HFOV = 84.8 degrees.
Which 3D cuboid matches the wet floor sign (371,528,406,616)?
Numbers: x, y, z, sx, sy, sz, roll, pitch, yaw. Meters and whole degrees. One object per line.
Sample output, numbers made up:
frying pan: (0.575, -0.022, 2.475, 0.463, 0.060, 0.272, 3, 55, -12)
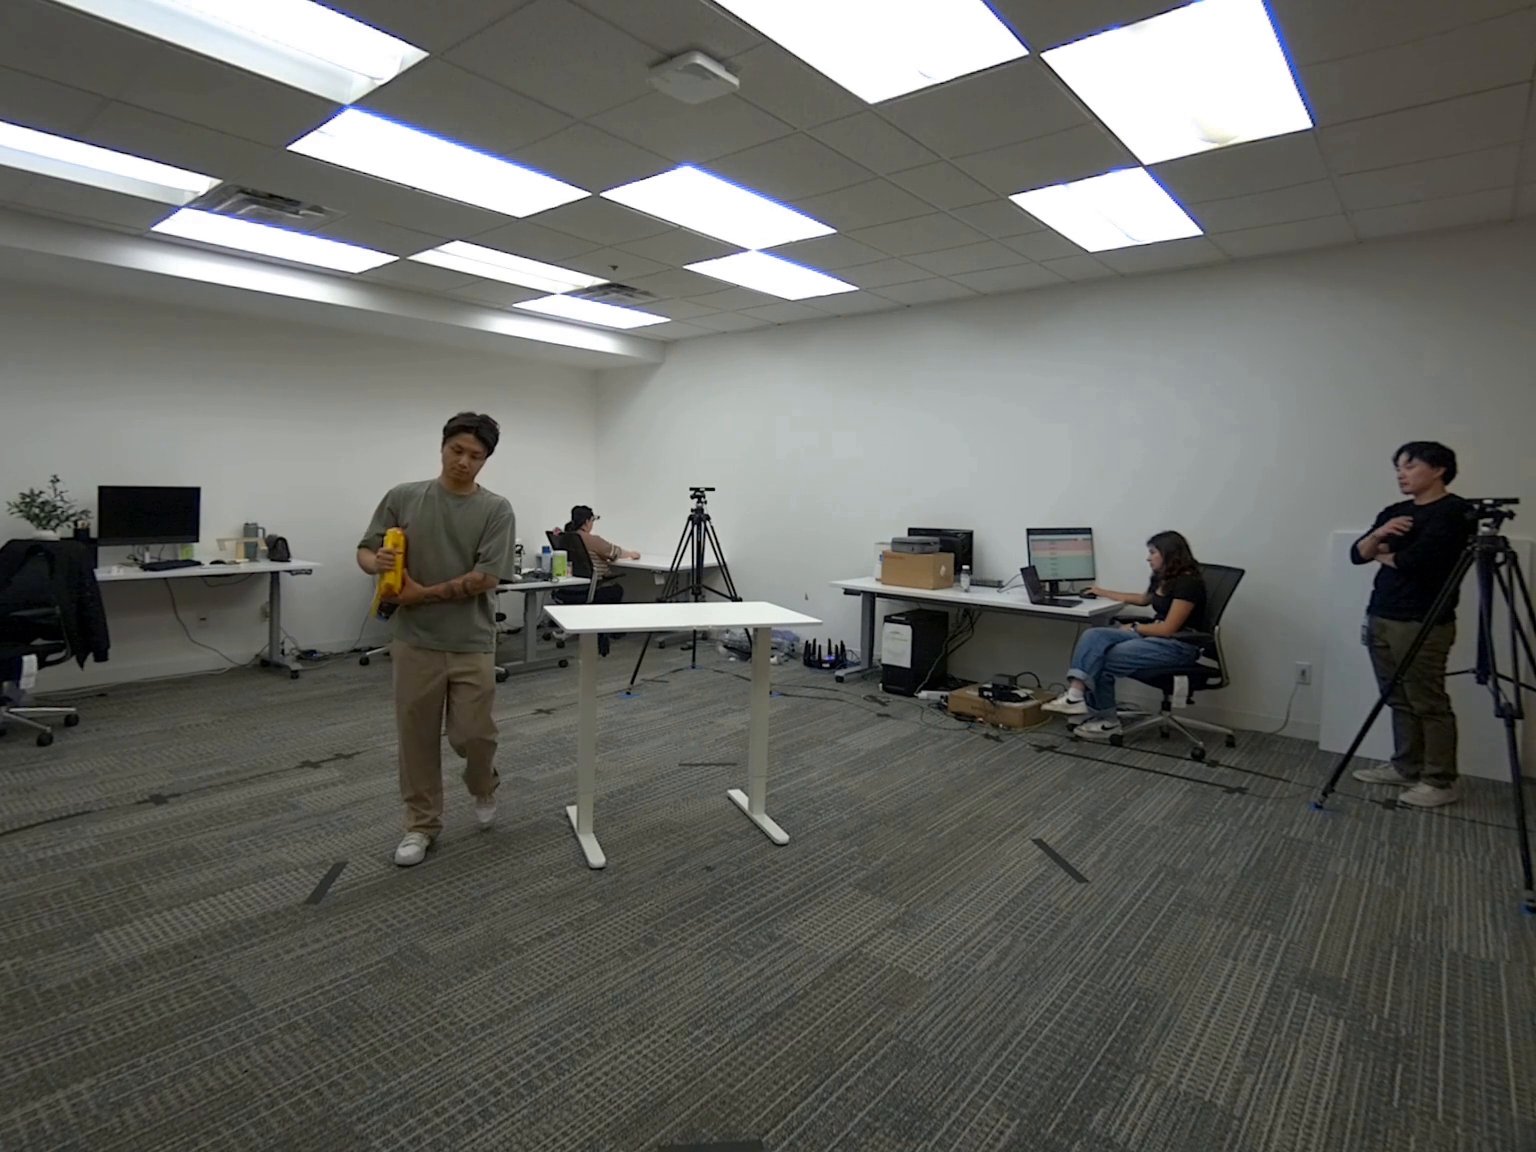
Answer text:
wet floor sign: (-1.441, -0.001, 3.252, 0.284, 0.286, 0.650, -1, -11, -20)
